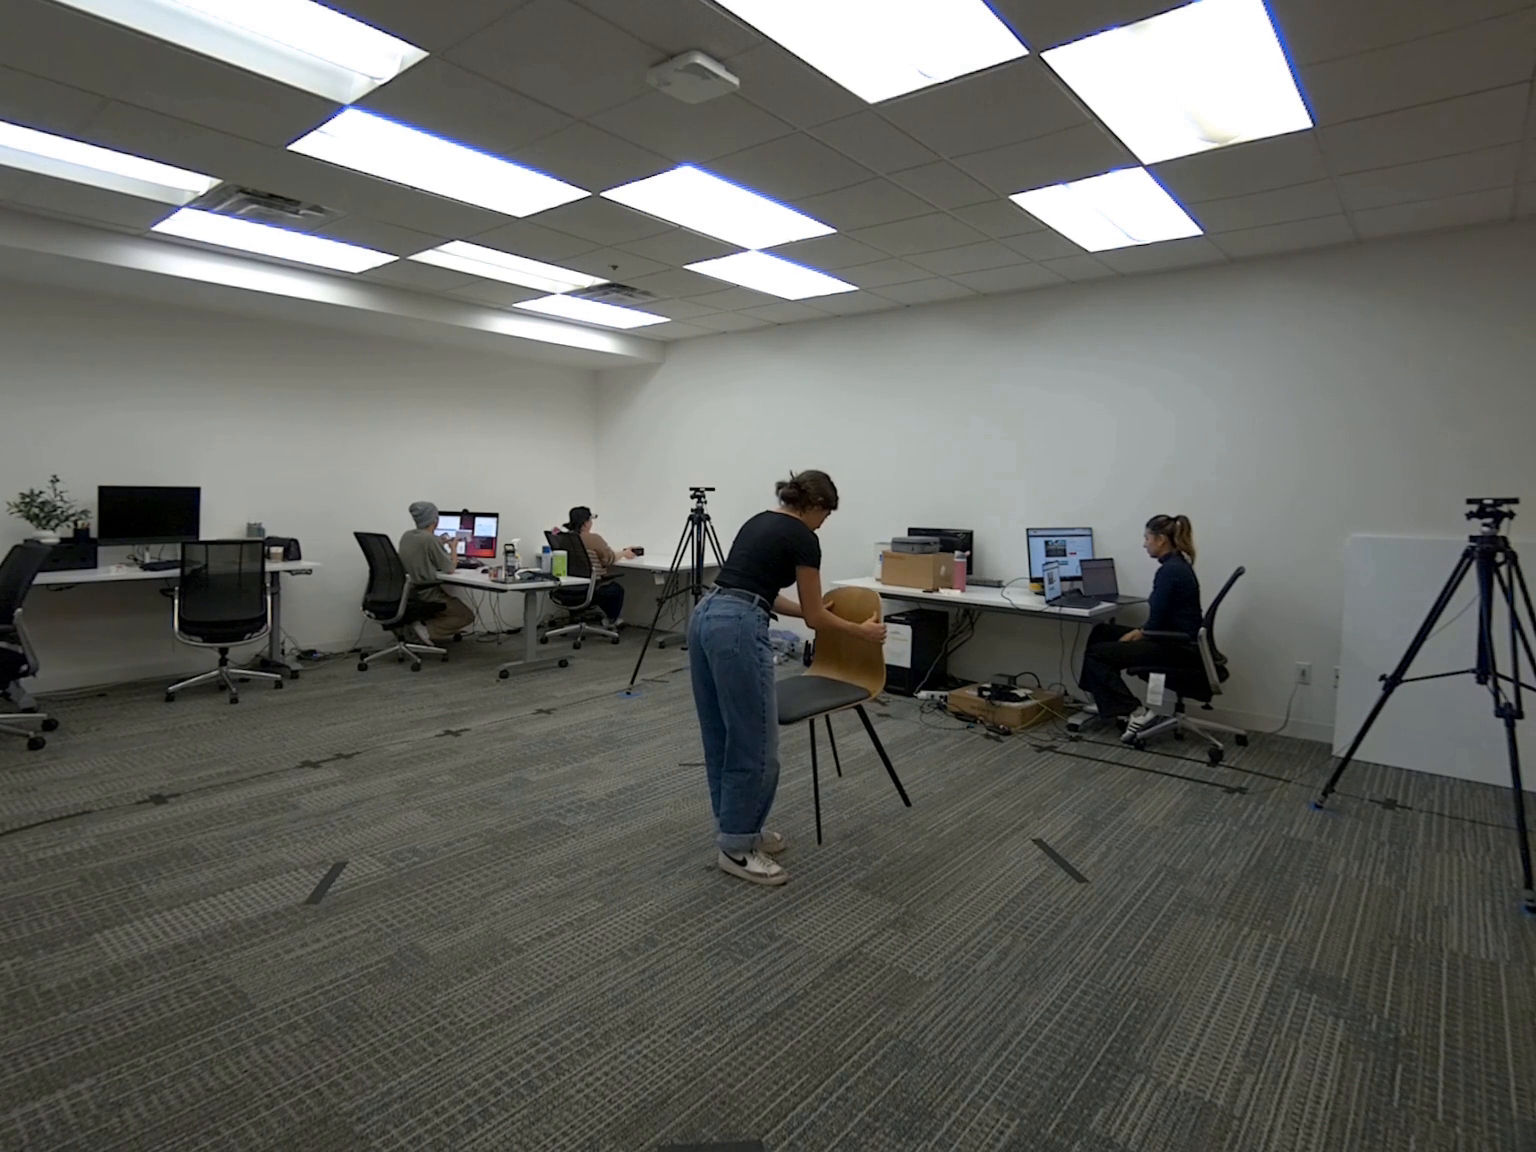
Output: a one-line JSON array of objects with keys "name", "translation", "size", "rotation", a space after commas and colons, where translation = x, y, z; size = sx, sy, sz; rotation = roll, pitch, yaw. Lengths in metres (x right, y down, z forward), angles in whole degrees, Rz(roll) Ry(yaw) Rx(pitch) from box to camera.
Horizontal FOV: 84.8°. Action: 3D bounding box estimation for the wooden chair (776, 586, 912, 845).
[{"name": "wooden chair", "translation": [0.187, 0.509, 3.361], "size": [0.510, 0.873, 0.492], "rotation": [-6, 6, -31]}]
